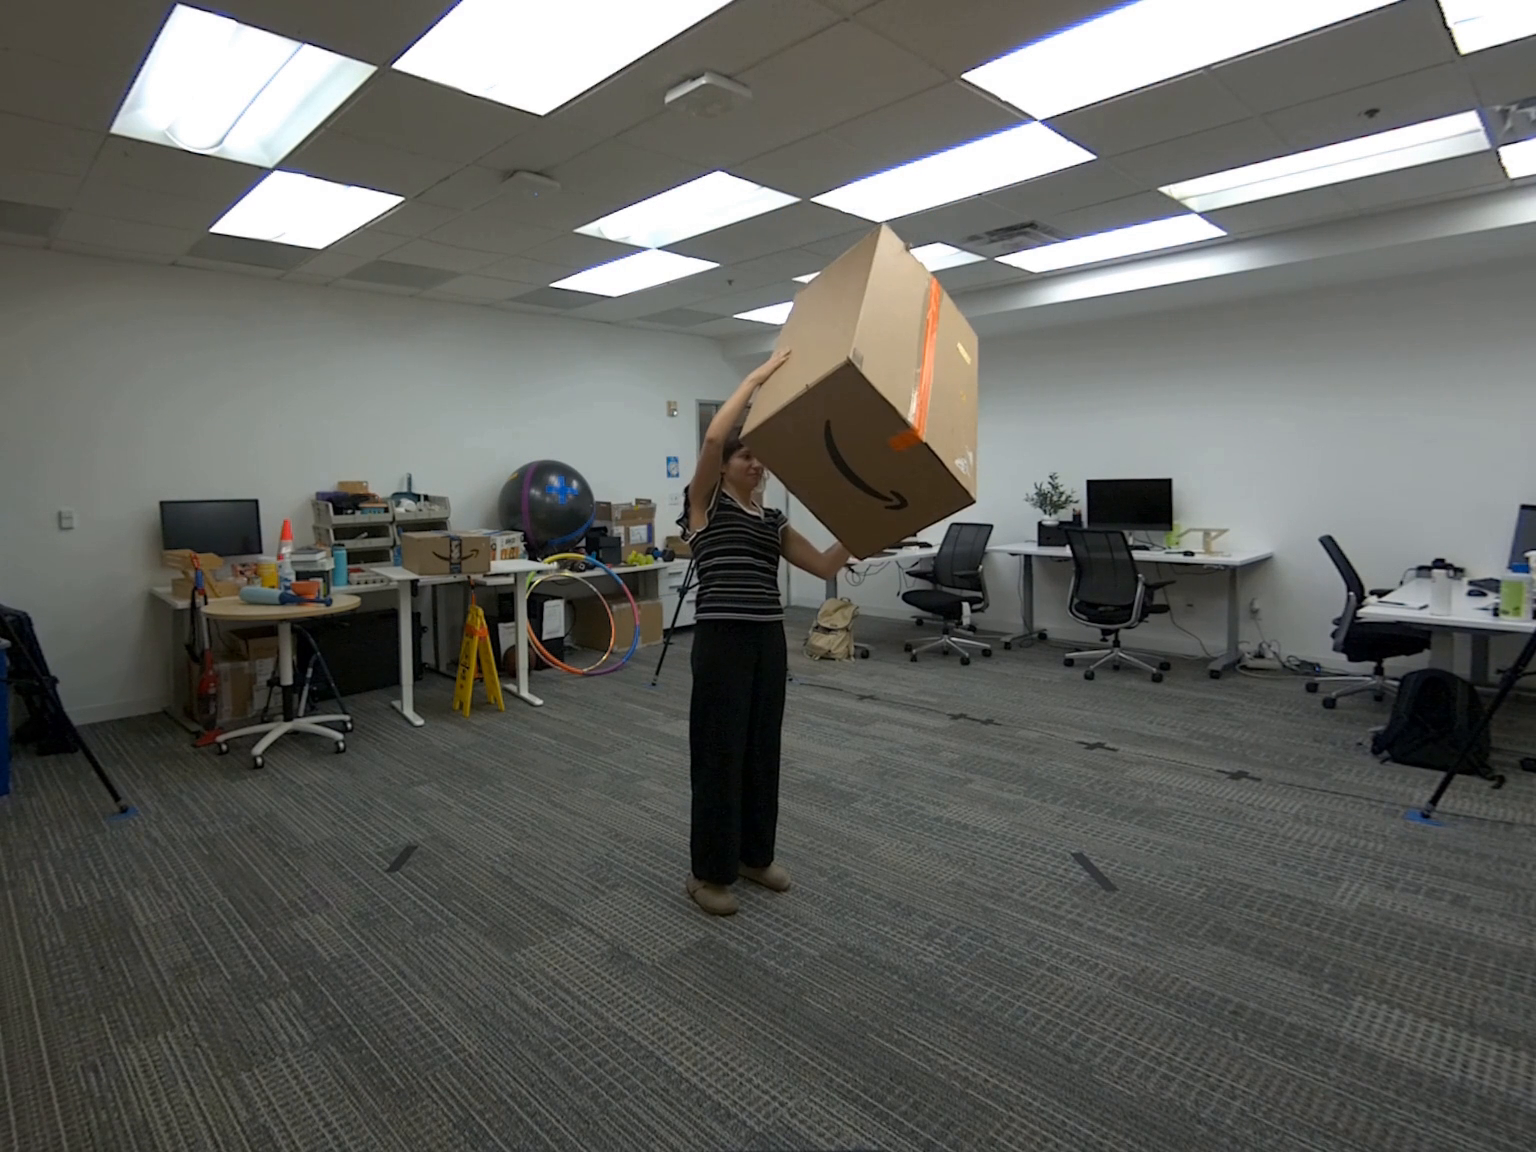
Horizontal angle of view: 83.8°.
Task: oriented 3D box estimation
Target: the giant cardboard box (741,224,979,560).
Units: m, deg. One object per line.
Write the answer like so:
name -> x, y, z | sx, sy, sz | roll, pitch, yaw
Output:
giant cardboard box -> 0.345, -0.644, 2.837 | 0.430, 0.562, 1.043 | -31, 28, 34
